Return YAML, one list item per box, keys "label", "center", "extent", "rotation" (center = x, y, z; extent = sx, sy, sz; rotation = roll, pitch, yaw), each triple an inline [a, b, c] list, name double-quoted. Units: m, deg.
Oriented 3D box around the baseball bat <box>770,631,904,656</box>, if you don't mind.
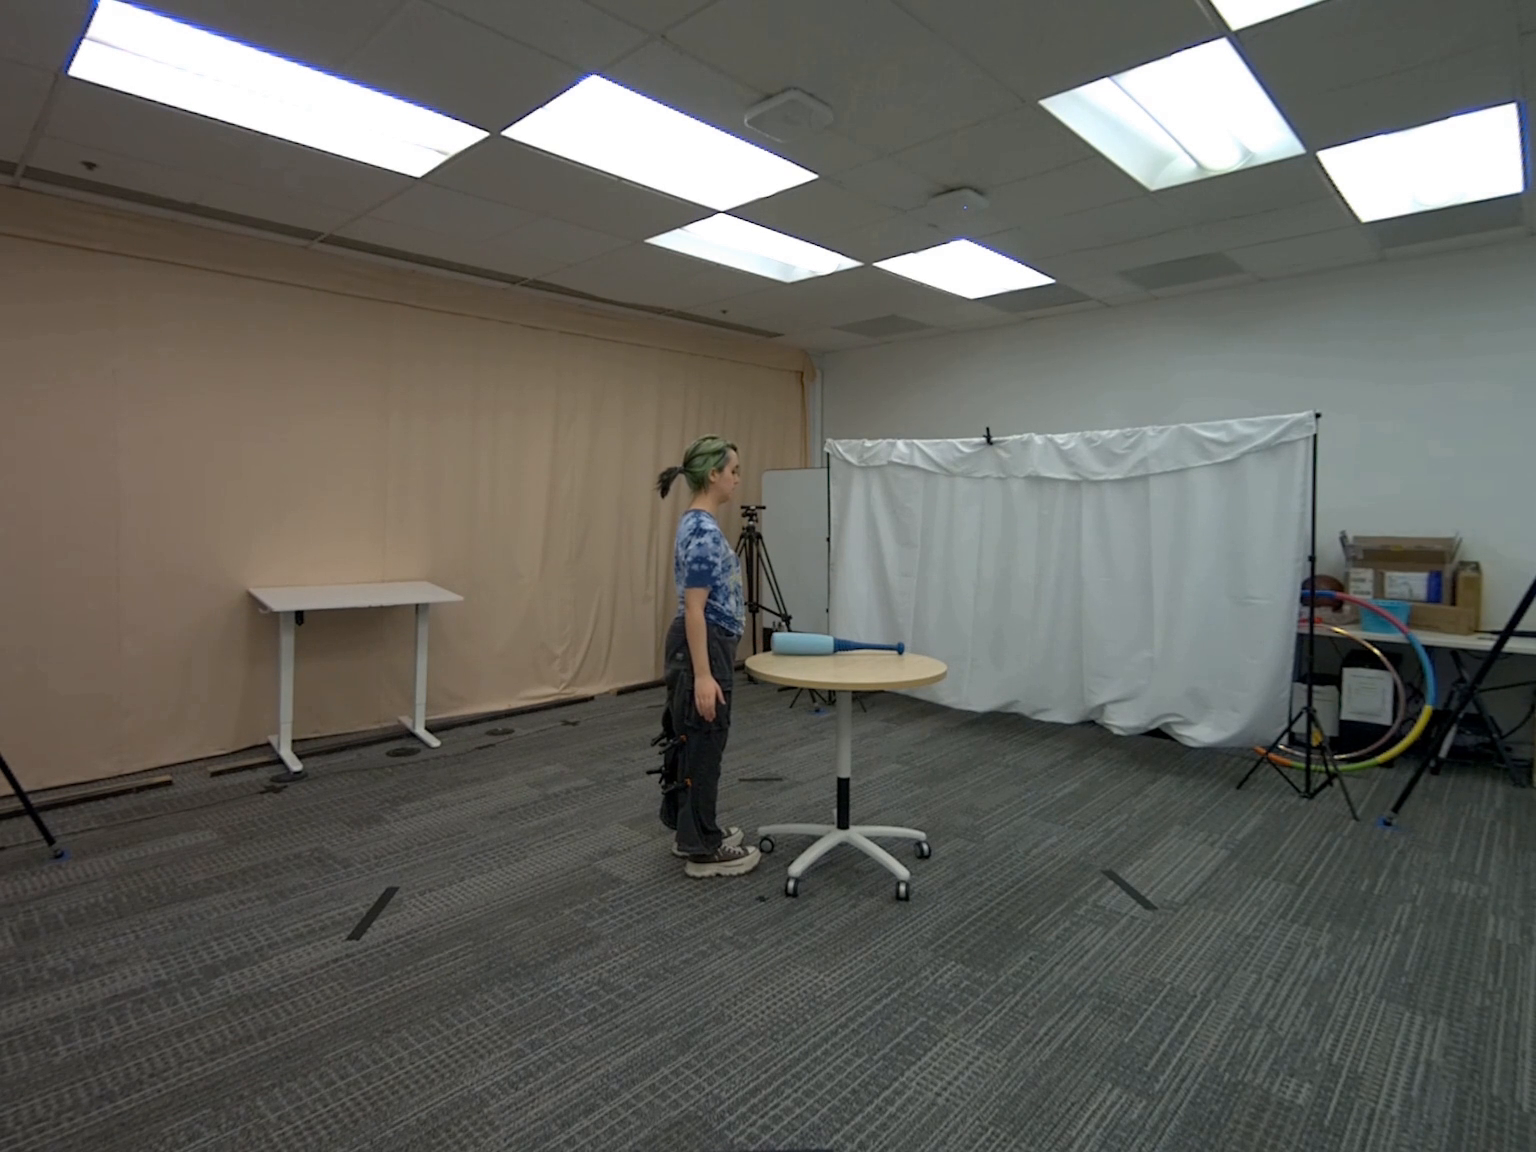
- label: "baseball bat"
  center: [0.289, 0.284, 3.430]
  extent: [0.541, 0.089, 0.089]
  rotation: [1, 4, -3]
